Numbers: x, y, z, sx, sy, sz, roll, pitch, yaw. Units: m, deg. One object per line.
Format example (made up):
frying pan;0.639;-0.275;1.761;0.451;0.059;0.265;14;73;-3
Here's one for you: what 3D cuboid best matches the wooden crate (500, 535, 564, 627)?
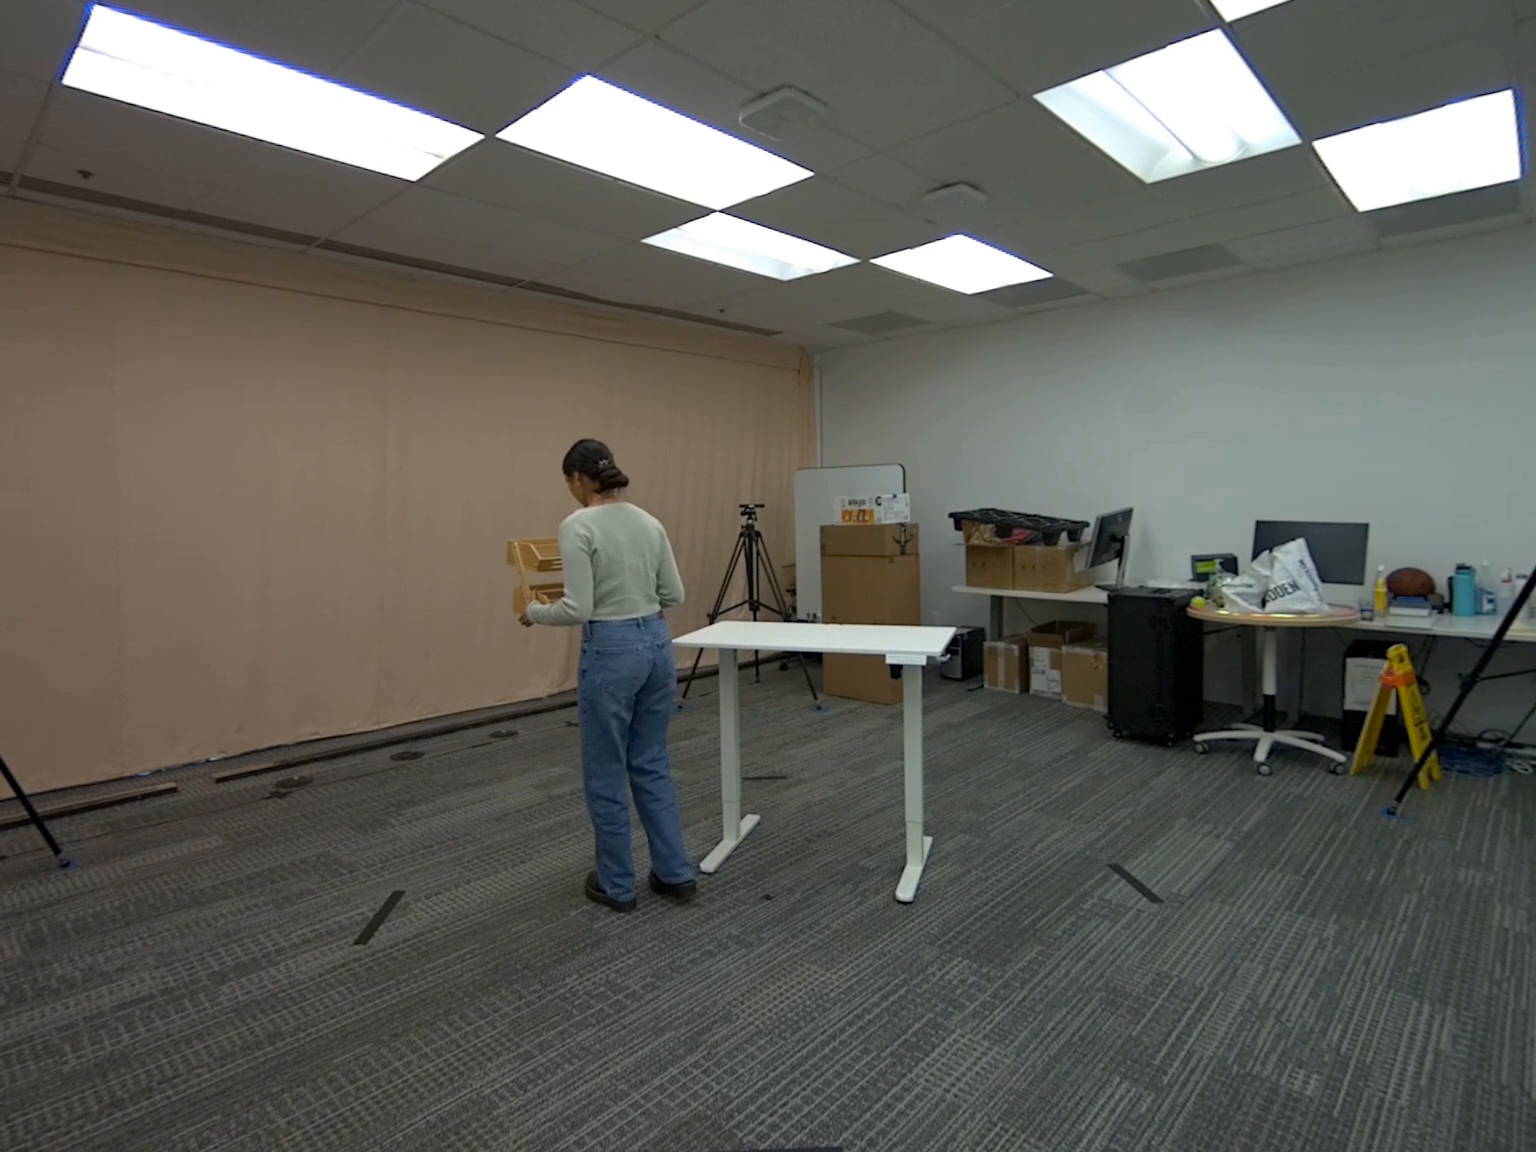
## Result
wooden crate;-0.751;0.002;3.097;0.313;0.272;0.314;11;10;42
